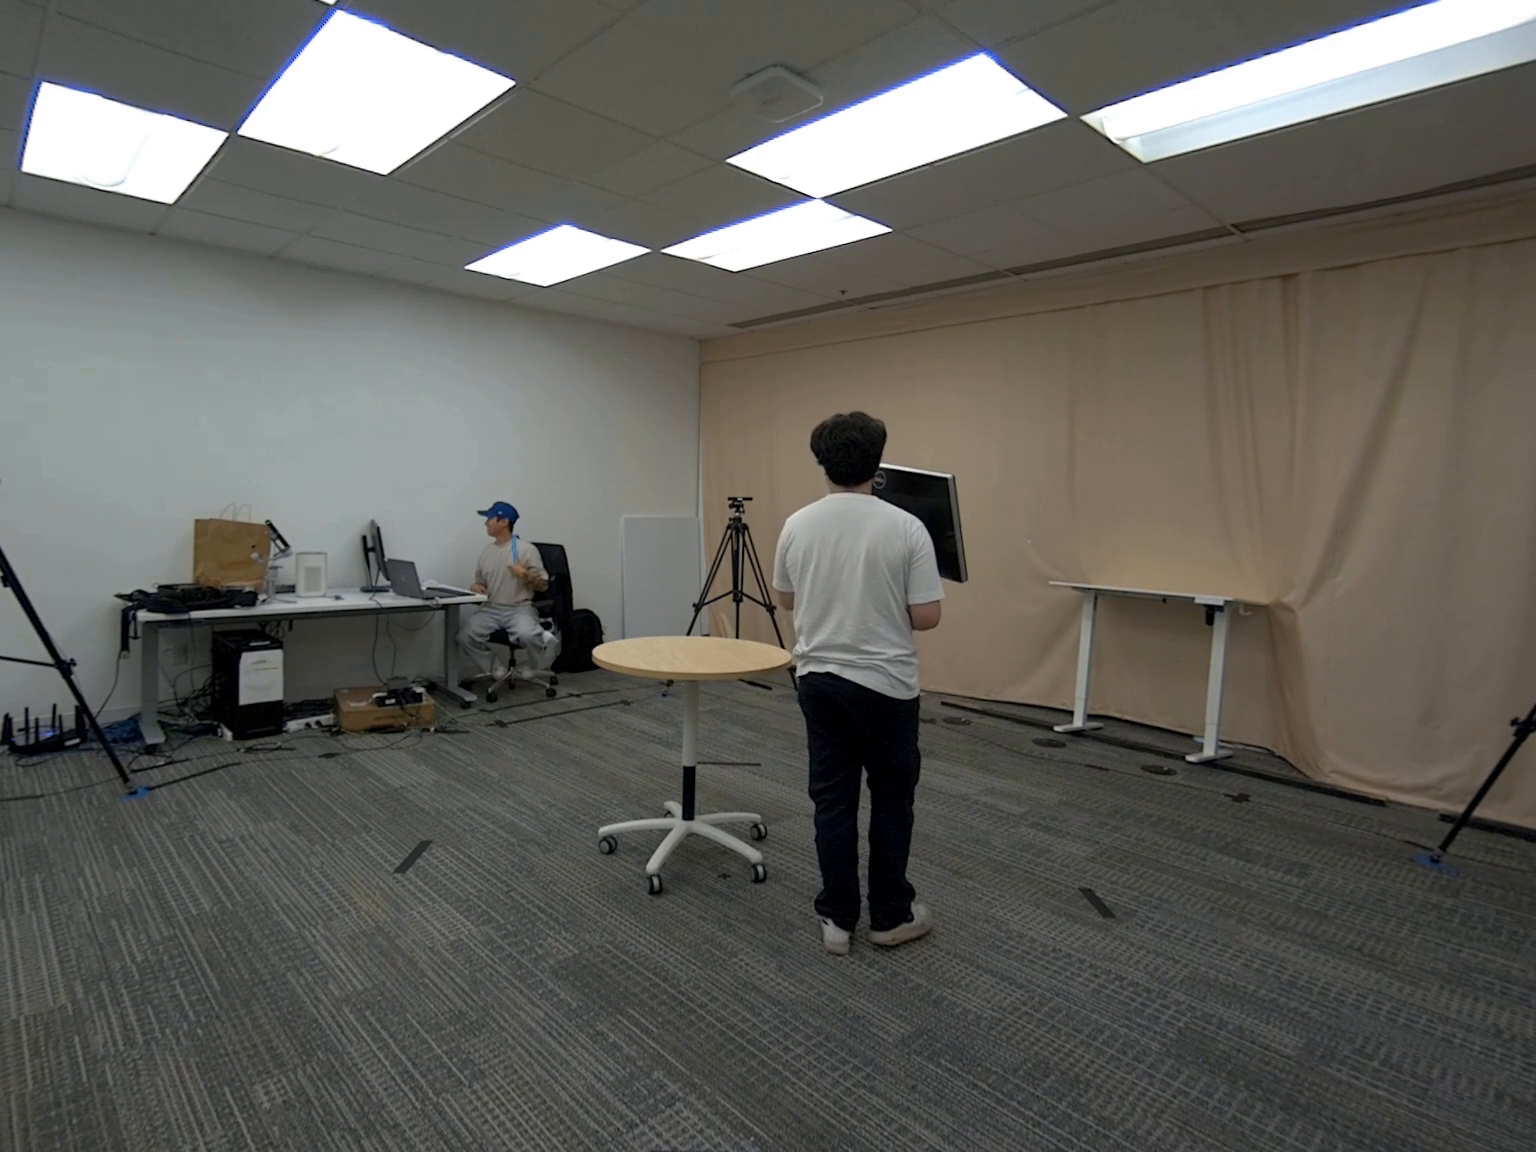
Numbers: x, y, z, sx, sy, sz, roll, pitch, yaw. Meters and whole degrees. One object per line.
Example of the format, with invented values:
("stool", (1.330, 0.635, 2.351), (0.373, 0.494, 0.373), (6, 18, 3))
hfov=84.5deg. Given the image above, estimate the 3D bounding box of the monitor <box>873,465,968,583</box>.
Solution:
("monitor", (0.376, -0.093, 2.805), (0.207, 0.545, 0.582), (-19, 23, -31))
